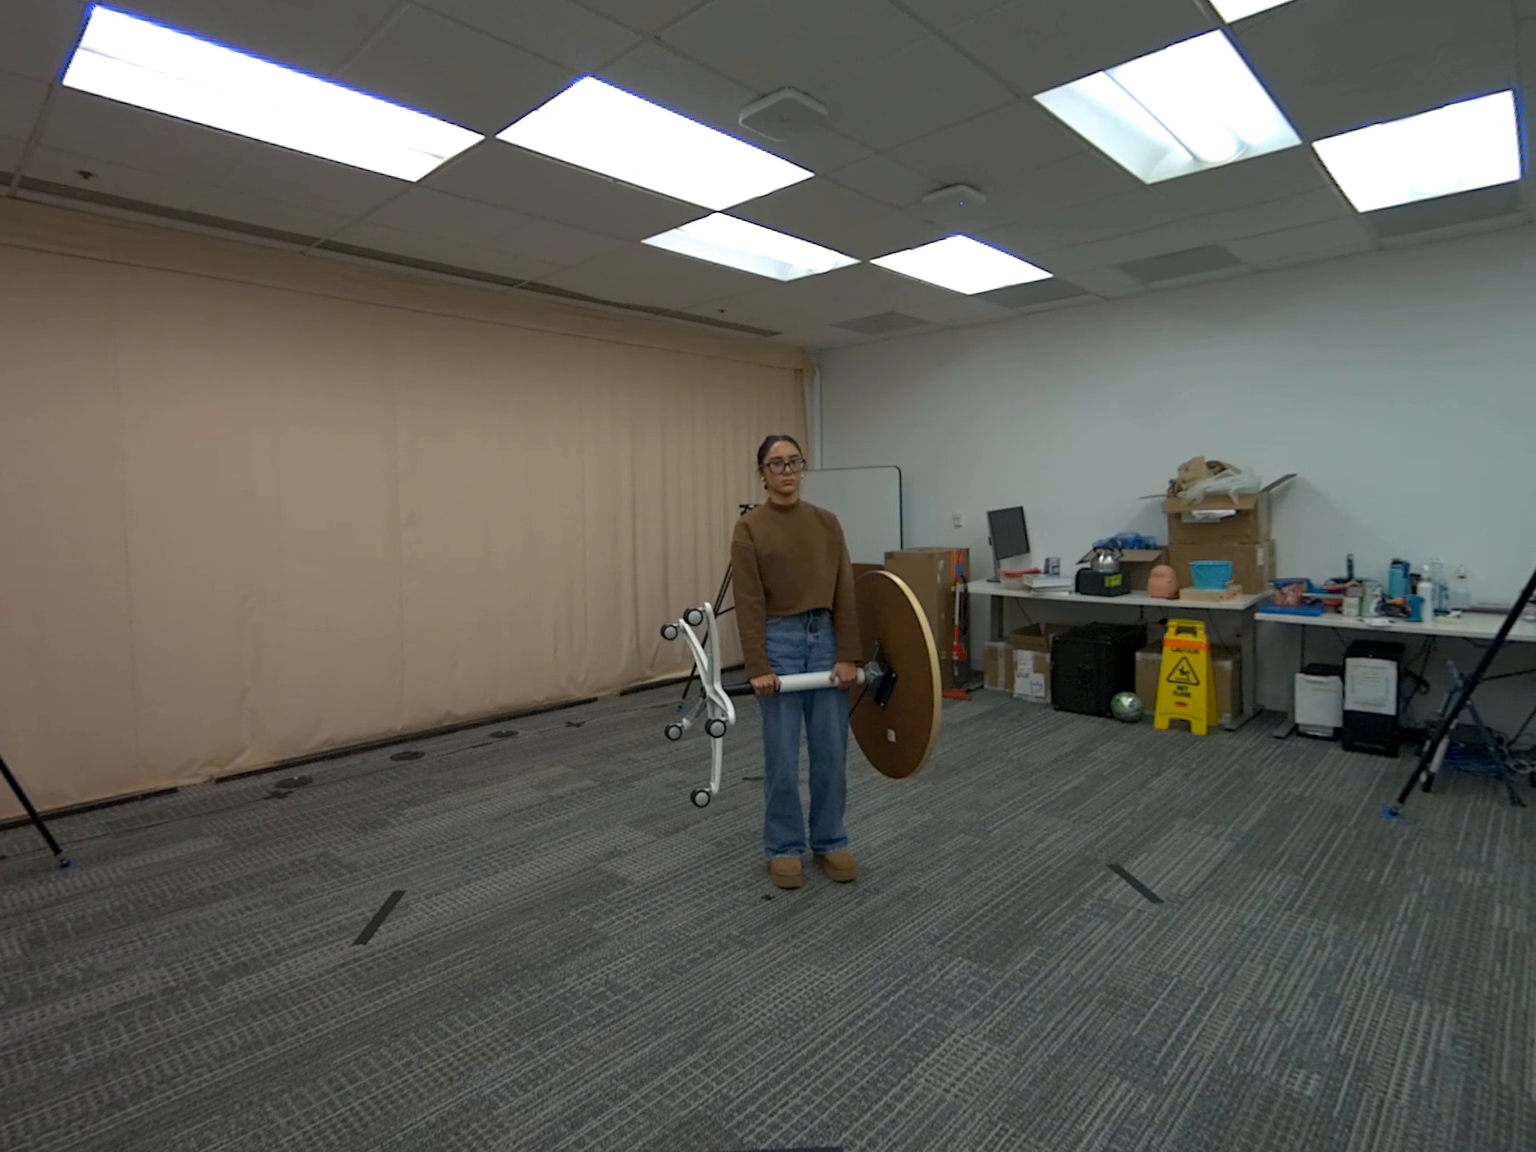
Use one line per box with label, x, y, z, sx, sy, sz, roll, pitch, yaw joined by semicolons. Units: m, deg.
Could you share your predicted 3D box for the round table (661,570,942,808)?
round table;0.071;0.399;3.048;0.780;0.761;0.780;-5;5;-18
